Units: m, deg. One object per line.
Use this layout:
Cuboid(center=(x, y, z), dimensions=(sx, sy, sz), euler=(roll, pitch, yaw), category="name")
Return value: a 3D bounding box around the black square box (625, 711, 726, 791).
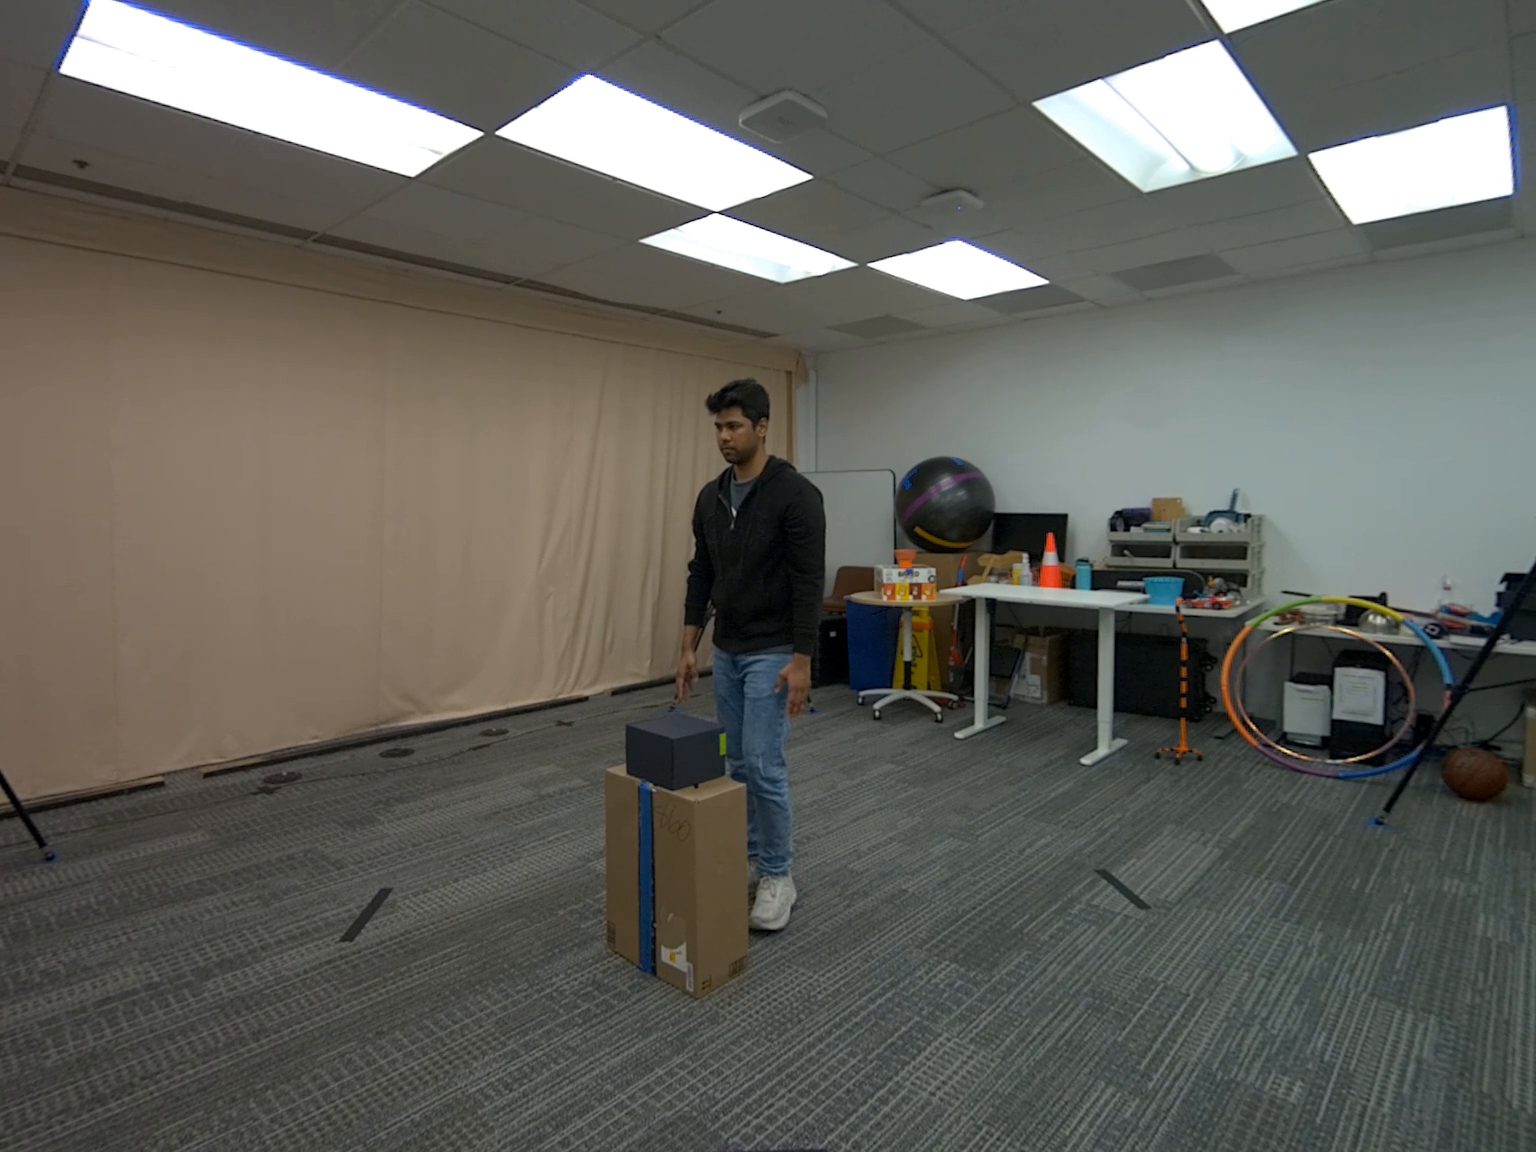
Cuboid(center=(-0.283, 0.537, 2.579), dimensions=(0.210, 0.155, 0.235), euler=(-3, 6, -44), category="black square box")
